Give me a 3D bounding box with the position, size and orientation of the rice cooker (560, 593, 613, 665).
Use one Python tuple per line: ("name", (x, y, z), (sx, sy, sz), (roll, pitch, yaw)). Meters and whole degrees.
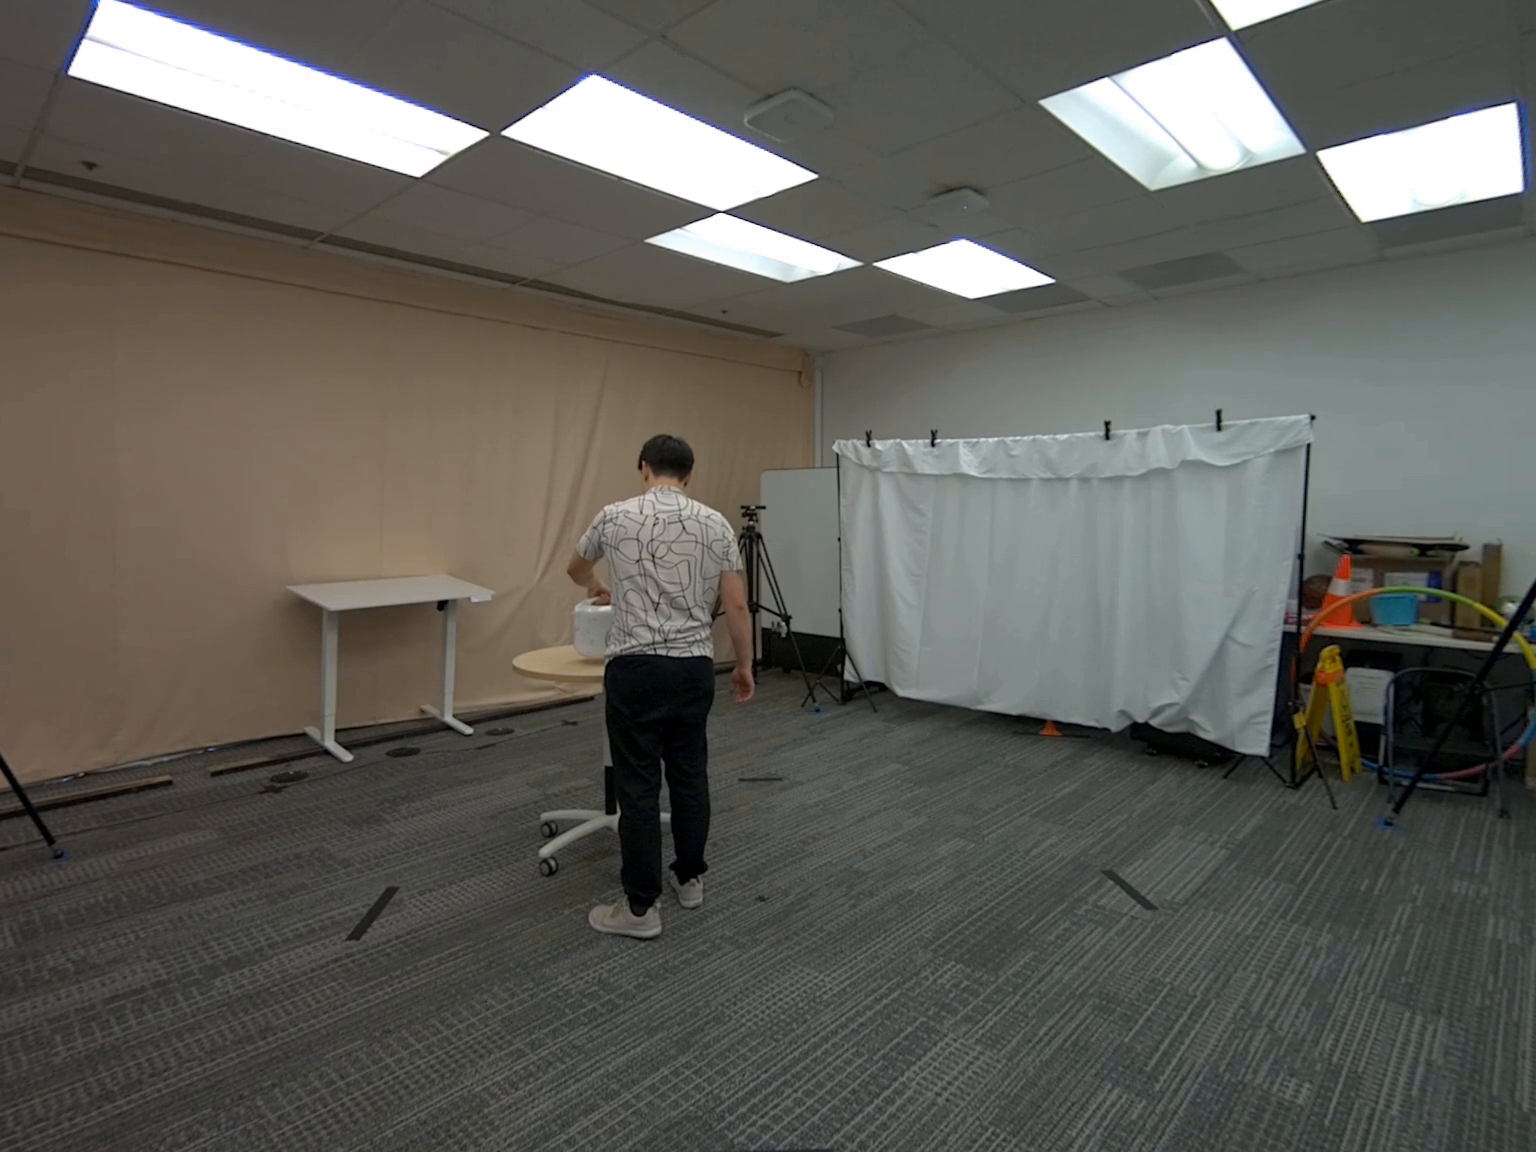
("rice cooker", (-0.661, 0.194, 3.303), (0.214, 0.232, 0.224), (-5, 8, -36))
